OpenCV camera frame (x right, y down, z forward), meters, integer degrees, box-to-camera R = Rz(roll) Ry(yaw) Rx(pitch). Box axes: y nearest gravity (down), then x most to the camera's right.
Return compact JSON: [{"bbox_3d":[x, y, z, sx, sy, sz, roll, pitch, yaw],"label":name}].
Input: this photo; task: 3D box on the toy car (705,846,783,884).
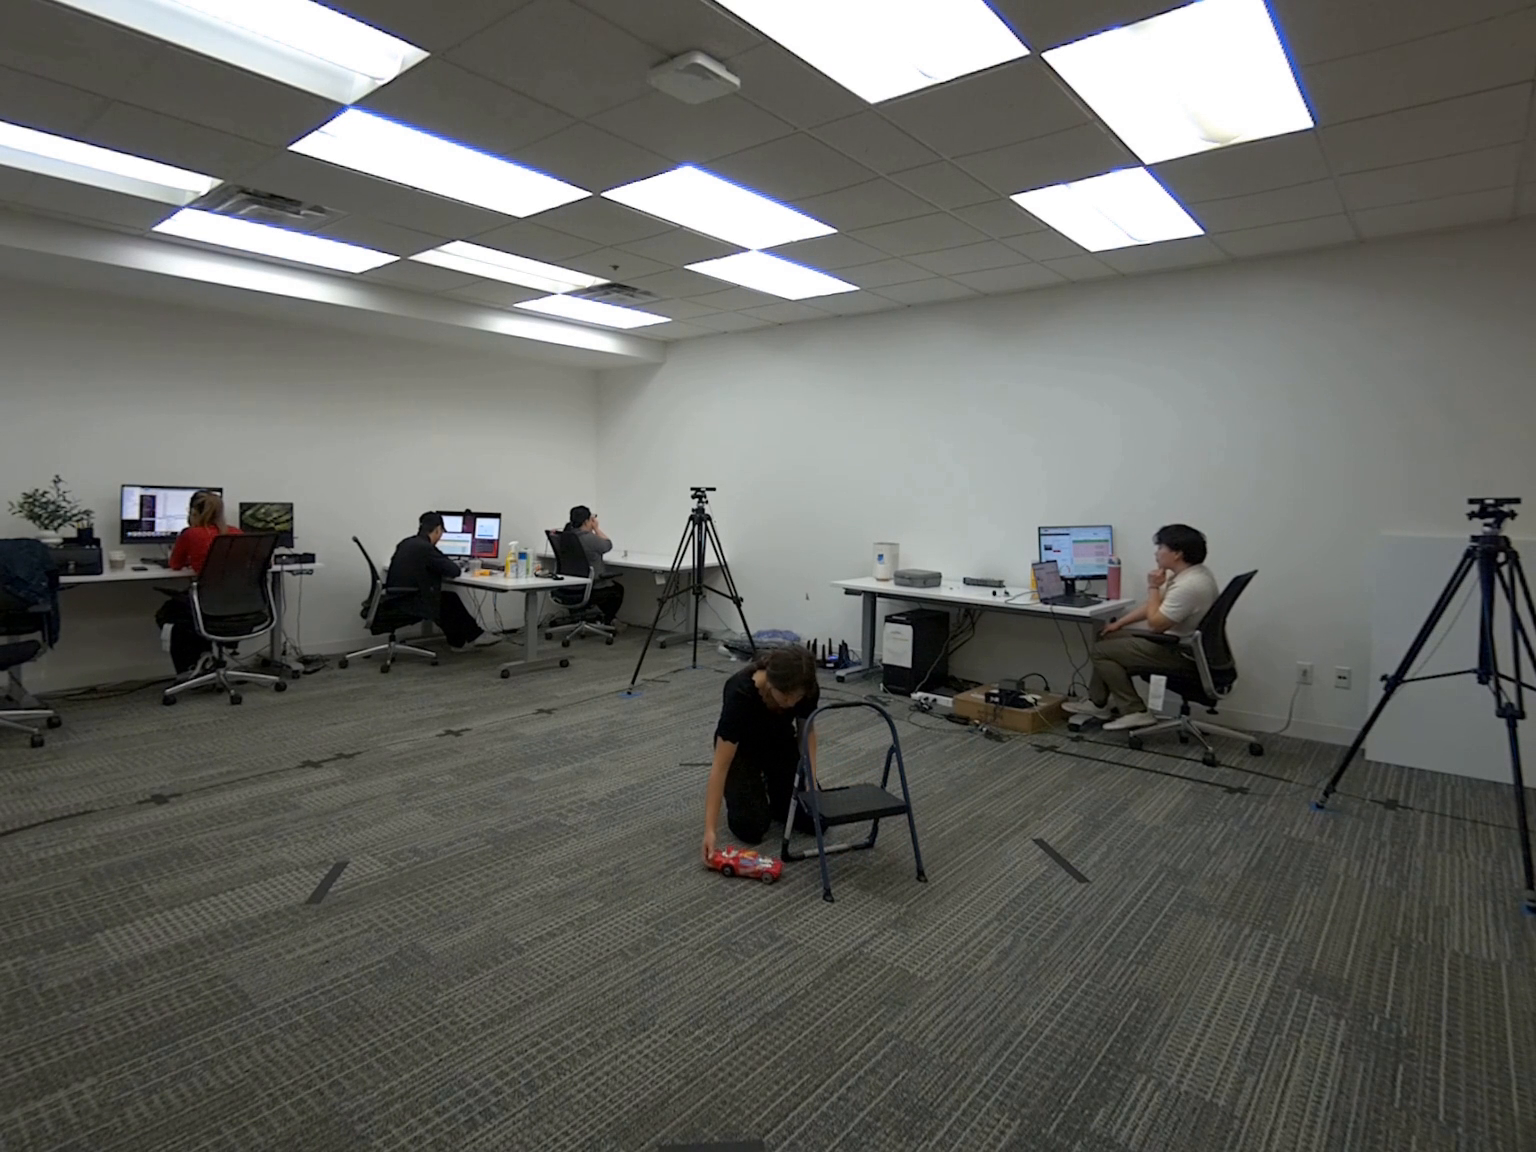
[{"bbox_3d":[-0.087,1.043,3.088,0.260,0.083,0.128,14,10,15],"label":"toy car"}]
